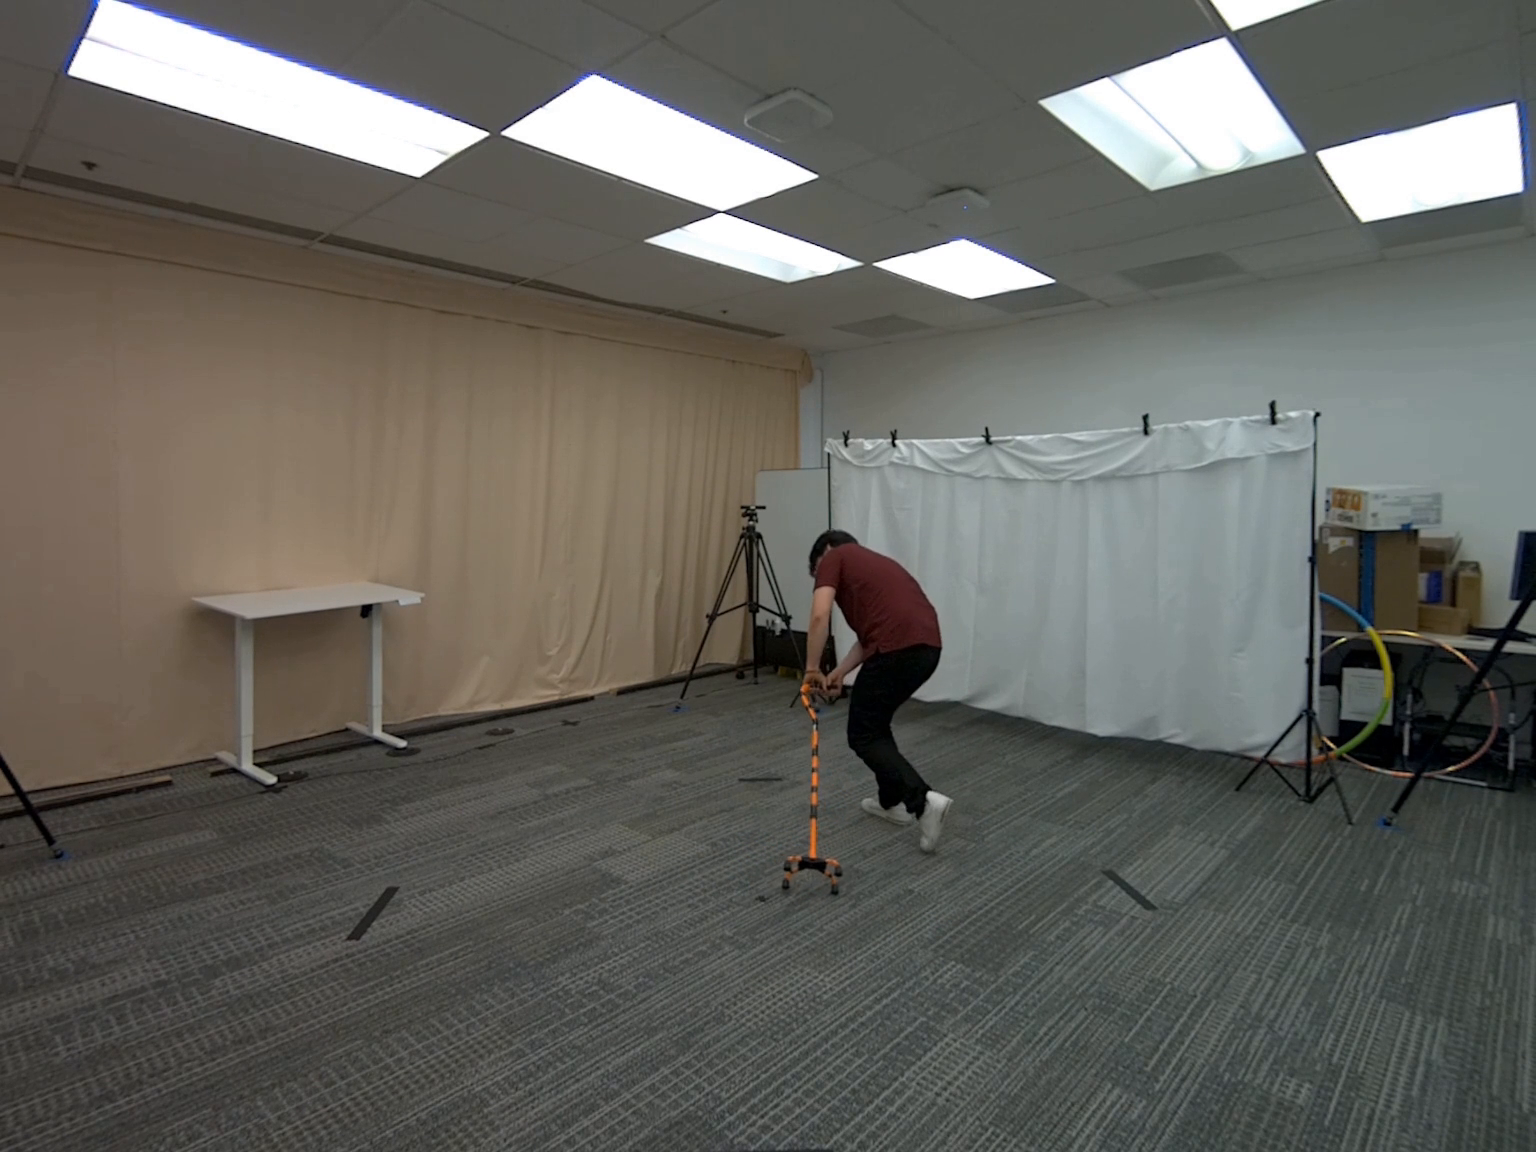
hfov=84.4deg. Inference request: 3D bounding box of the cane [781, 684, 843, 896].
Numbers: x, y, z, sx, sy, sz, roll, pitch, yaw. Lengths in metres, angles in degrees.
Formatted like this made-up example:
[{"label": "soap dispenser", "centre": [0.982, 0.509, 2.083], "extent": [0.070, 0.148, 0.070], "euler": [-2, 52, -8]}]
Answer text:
[{"label": "cane", "centre": [0.187, 0.777, 3.310], "extent": [0.207, 0.149, 0.920], "euler": [3, 41, 3]}]
